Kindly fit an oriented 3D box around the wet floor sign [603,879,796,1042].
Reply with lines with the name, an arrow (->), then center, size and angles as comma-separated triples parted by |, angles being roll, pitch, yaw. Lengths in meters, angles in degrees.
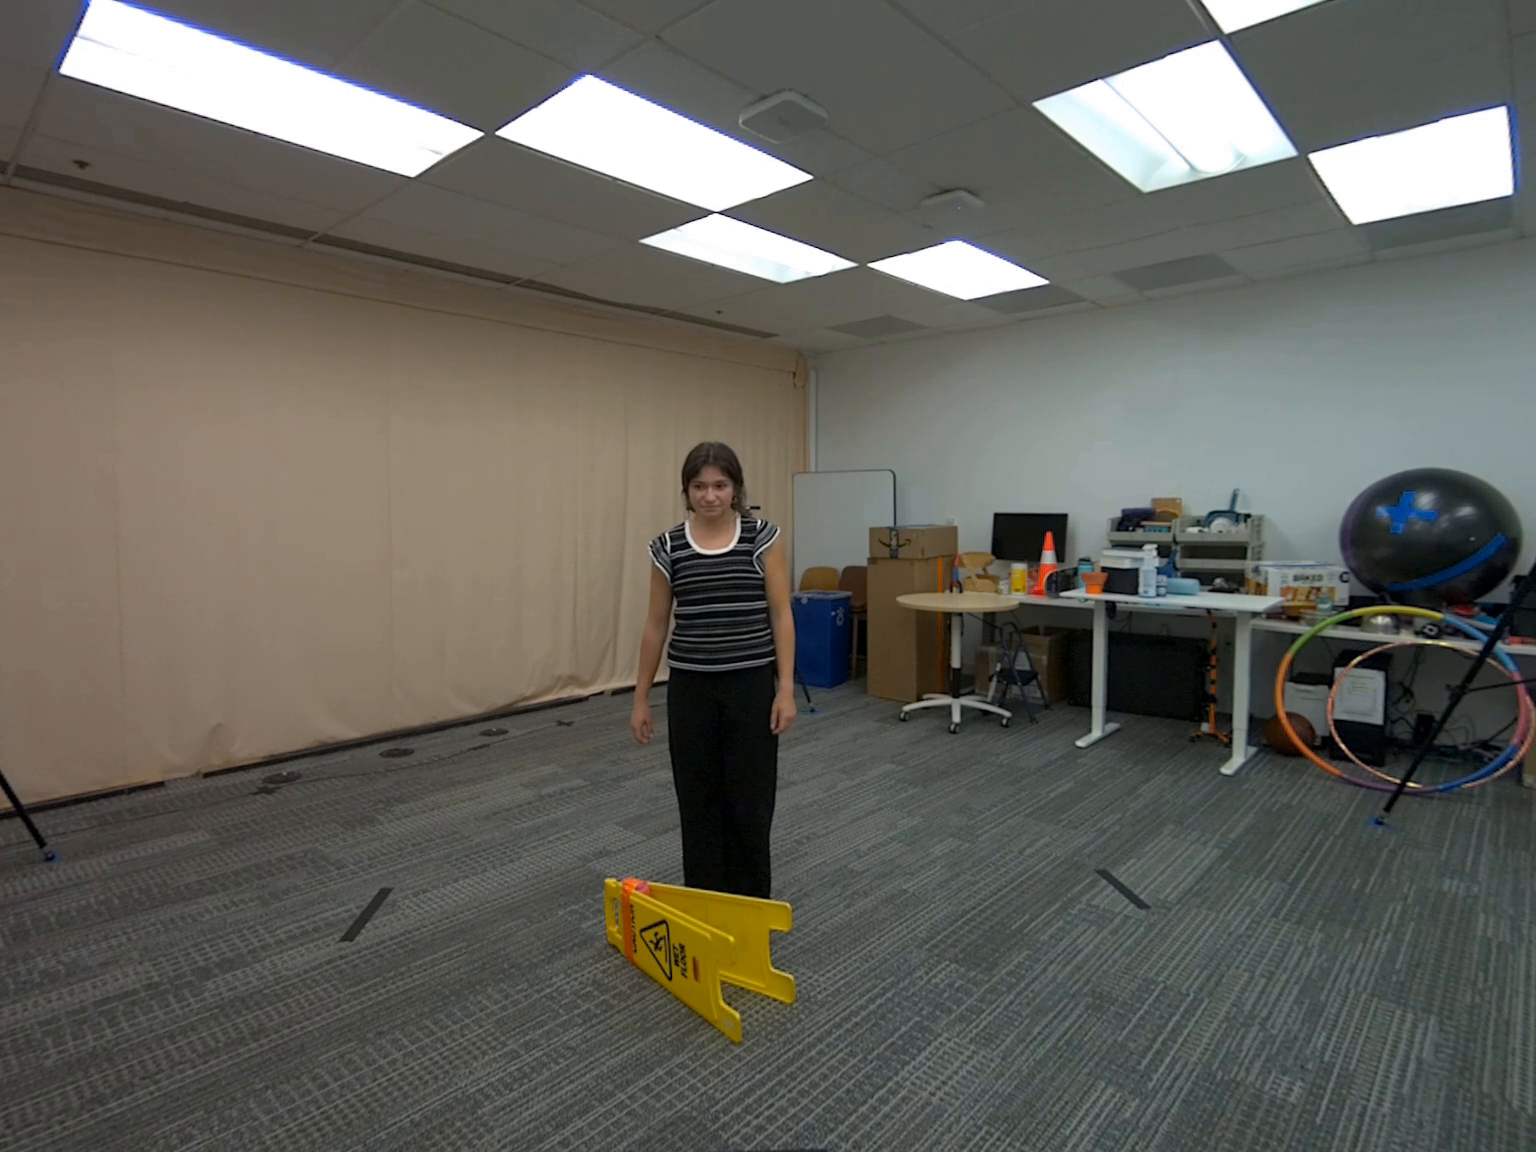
wet floor sign -> -0.259, 1.063, 2.471 | 0.666, 0.282, 0.281 | -1, 3, 39
